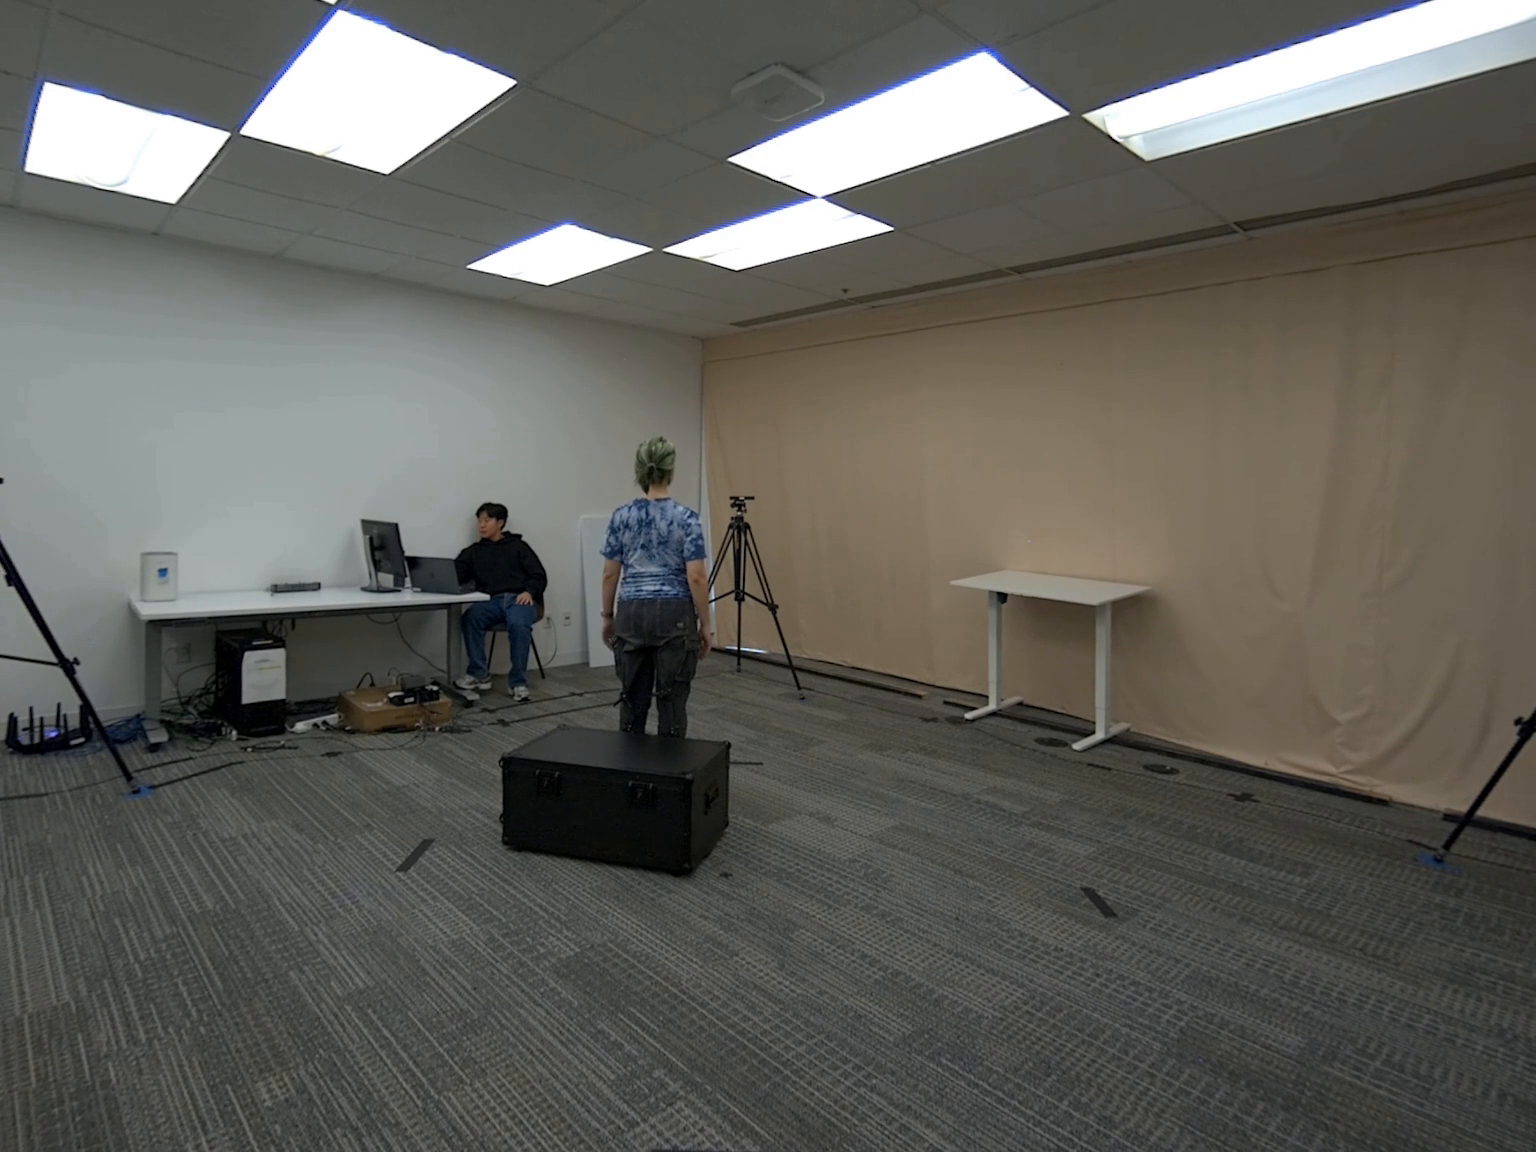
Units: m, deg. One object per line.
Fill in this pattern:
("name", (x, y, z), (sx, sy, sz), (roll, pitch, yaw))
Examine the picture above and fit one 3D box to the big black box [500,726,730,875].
("big black box", (-0.631, 0.873, 3.391), (0.873, 0.395, 0.516), (4, 5, 16))
